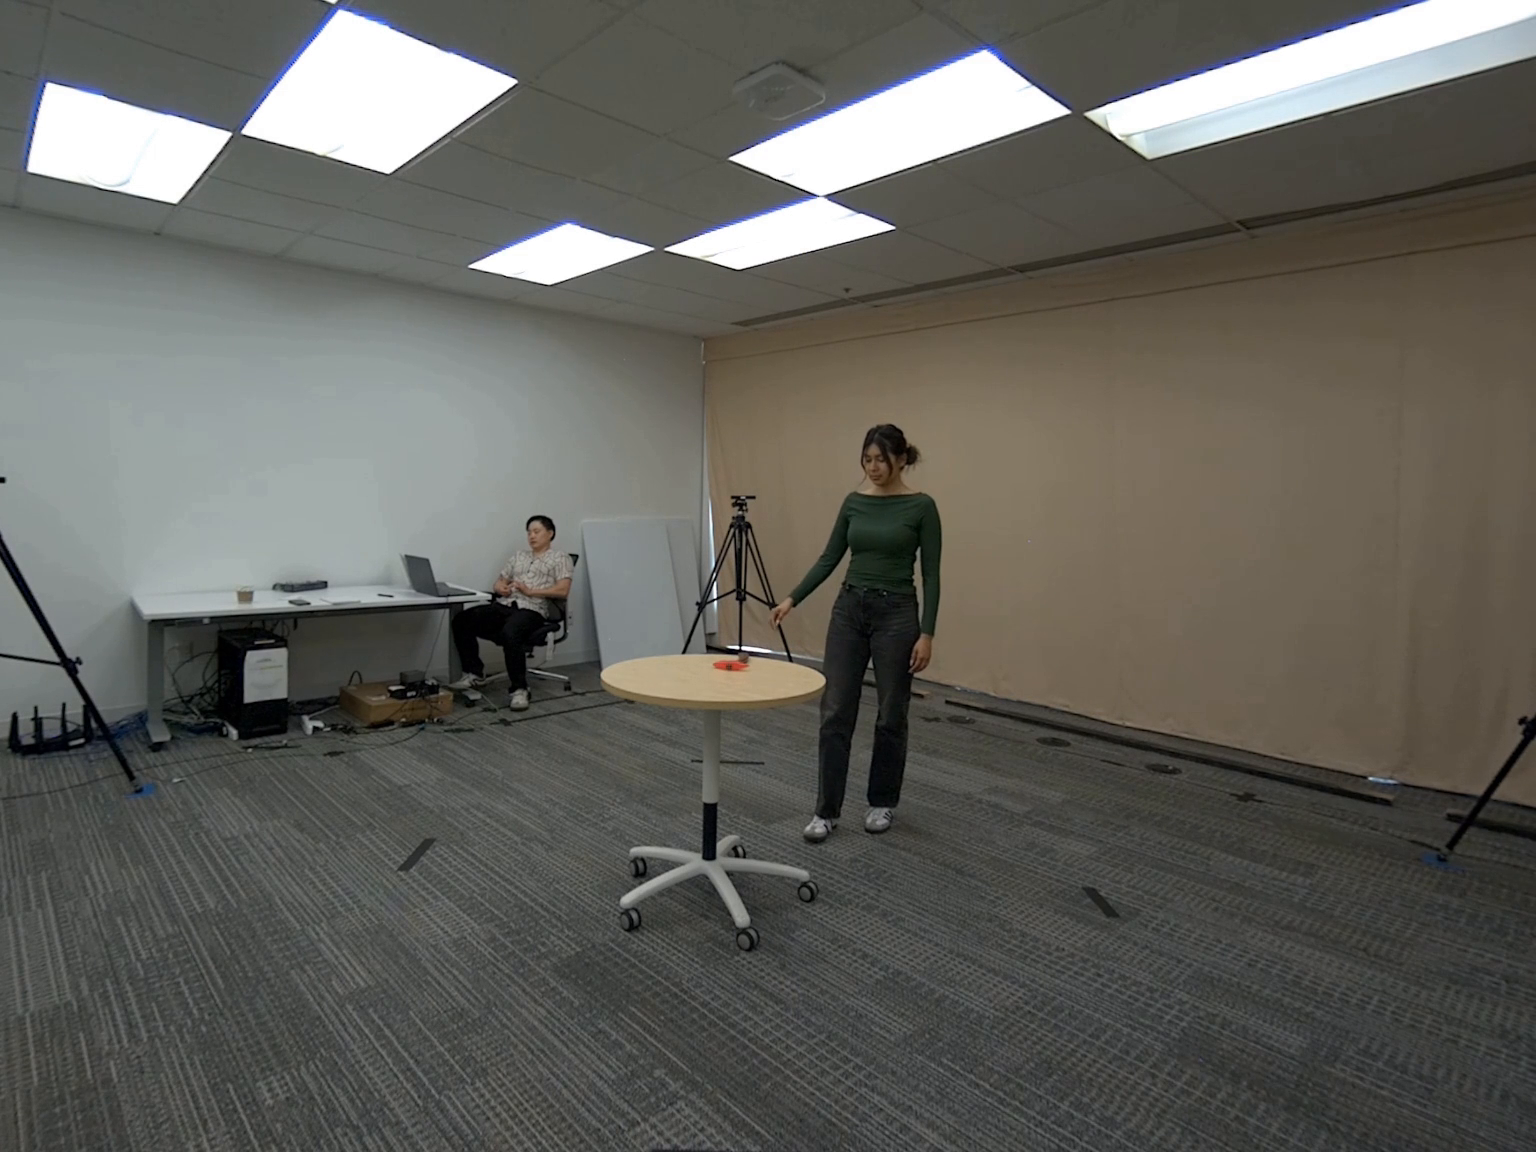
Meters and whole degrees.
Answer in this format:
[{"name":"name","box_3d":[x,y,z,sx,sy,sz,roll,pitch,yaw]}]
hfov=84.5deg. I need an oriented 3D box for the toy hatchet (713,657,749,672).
[{"name":"toy hatchet","box_3d":[-0.139,0.312,3.084,0.131,0.029,0.271,-1,4,-1]}]
